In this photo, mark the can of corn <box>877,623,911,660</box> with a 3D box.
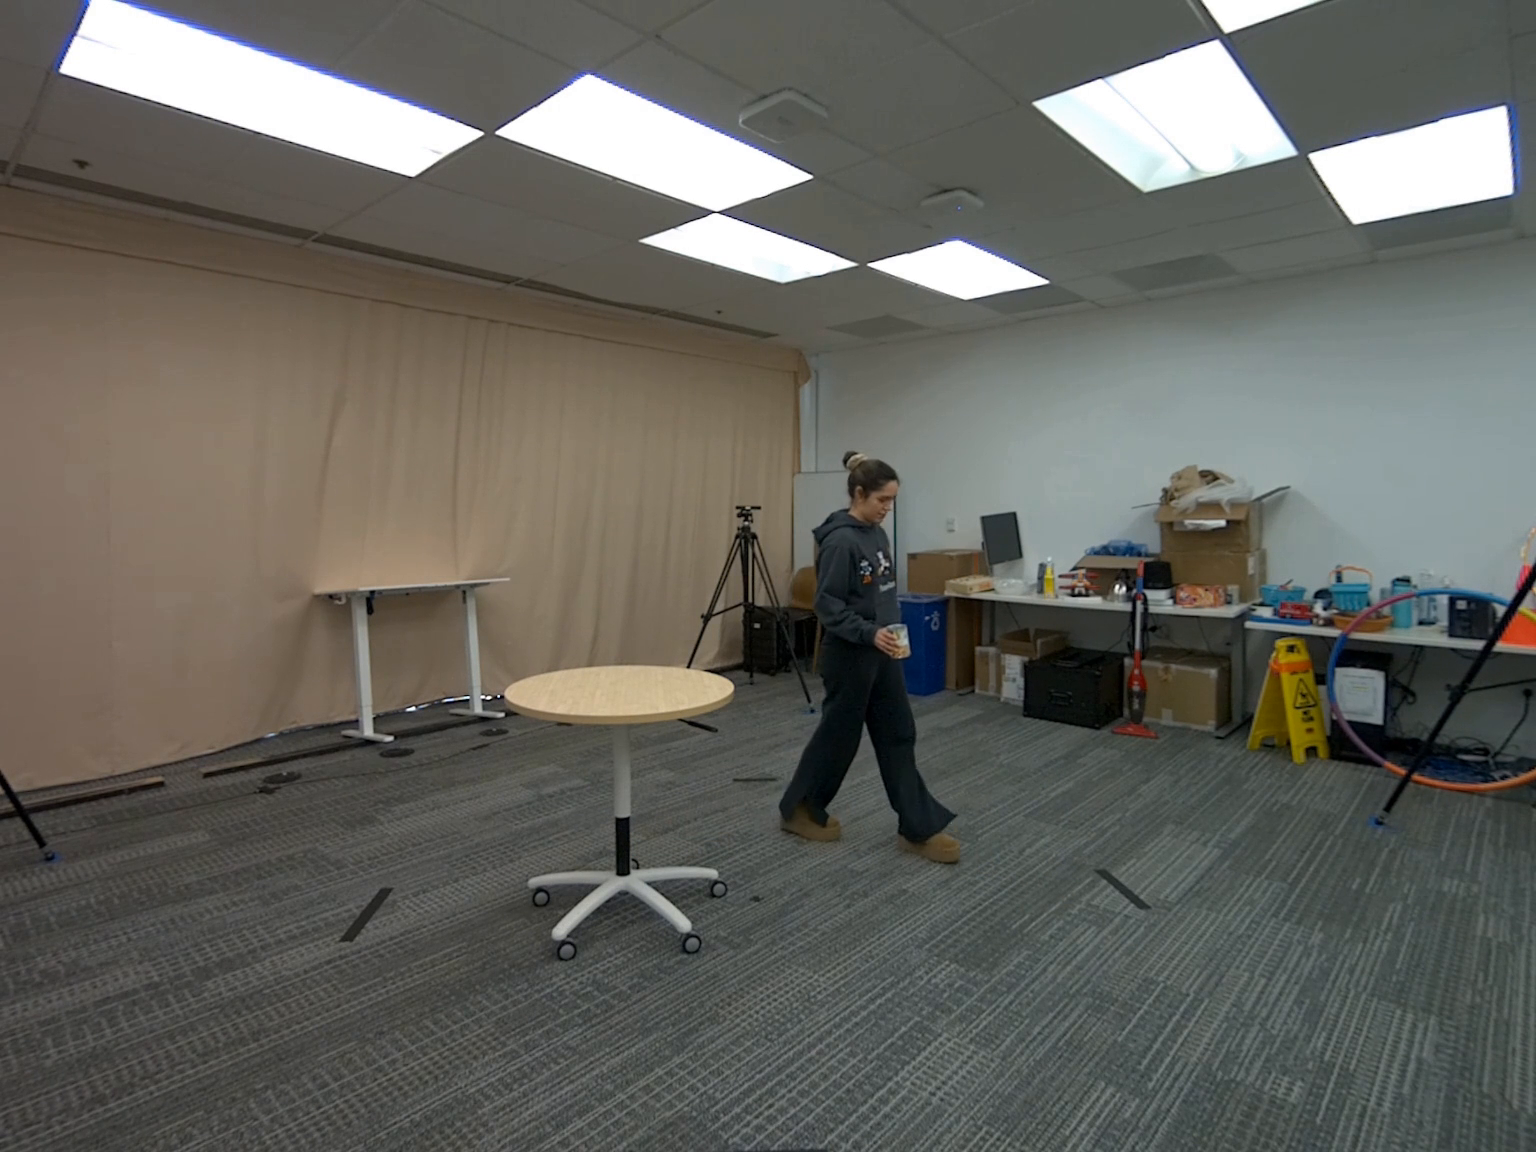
[{"bbox_3d":[0.480,0.230,3.091,0.074,0.110,0.074,-9,5,-1],"label":"can of corn"}]
